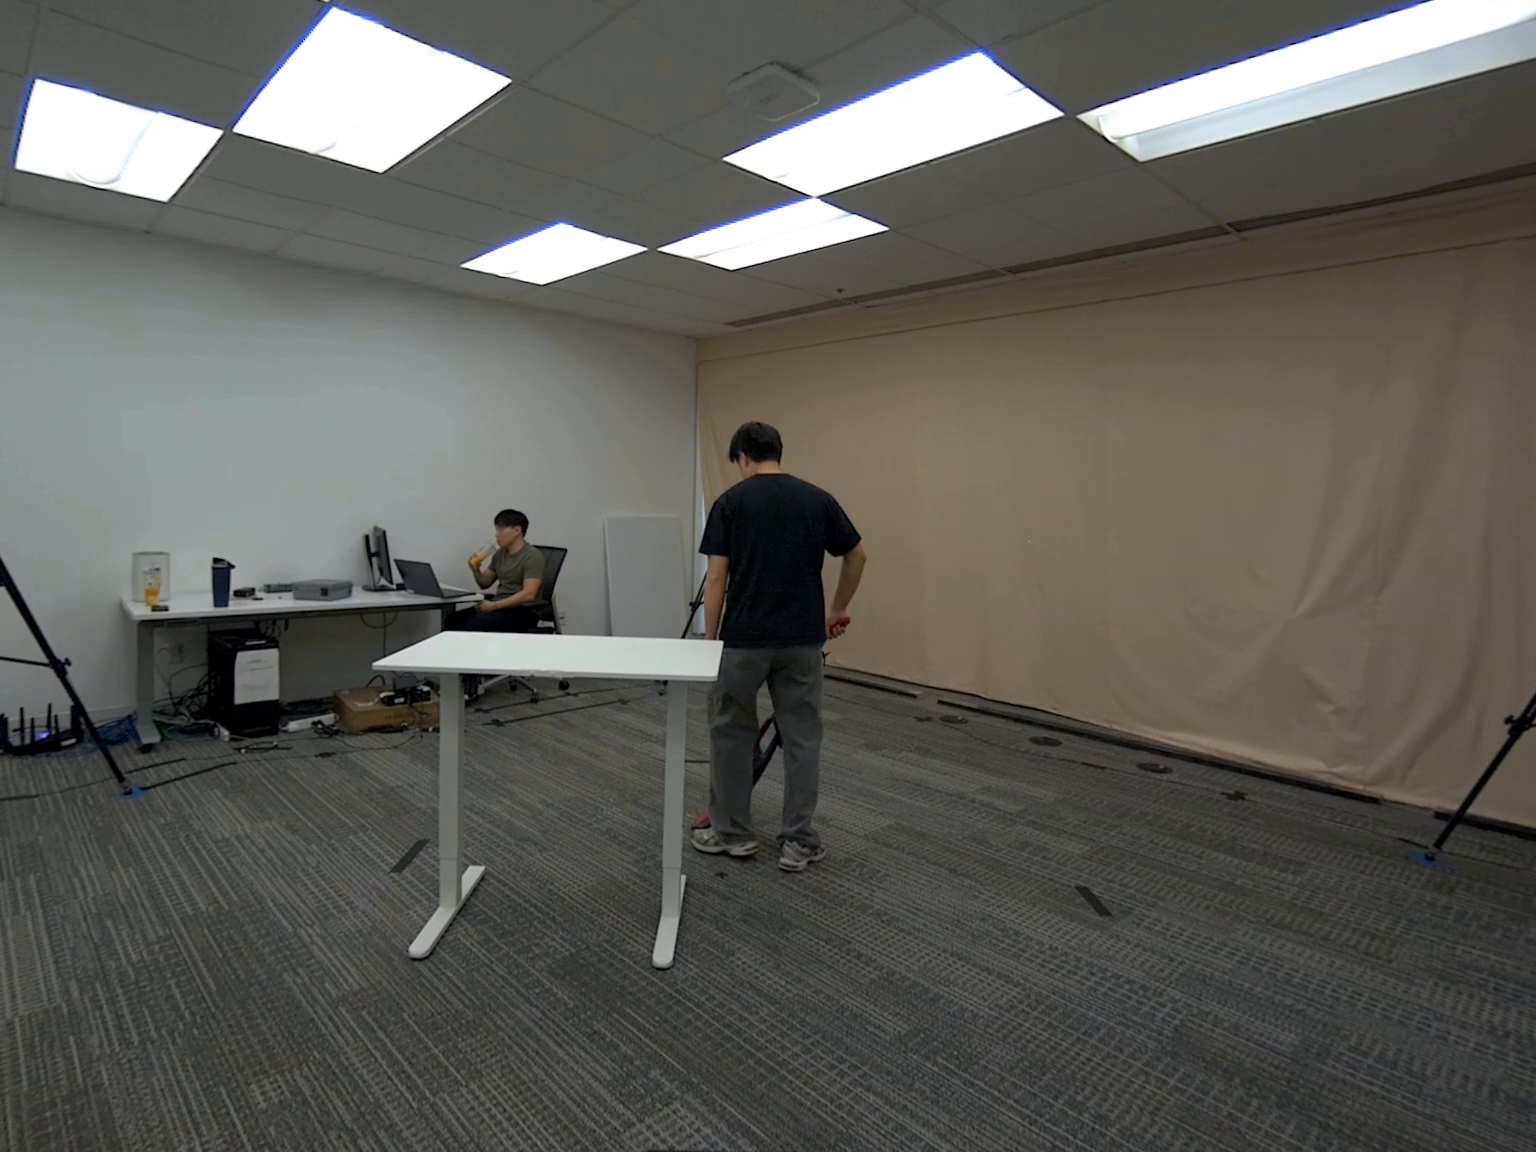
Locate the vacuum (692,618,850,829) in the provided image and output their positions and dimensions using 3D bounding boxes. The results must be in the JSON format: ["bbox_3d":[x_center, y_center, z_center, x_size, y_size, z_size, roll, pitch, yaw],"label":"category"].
[{"bbox_3d":[0.033,0.620,3.513,0.146,1.047,0.250,35,12,12],"label":"vacuum"}]
